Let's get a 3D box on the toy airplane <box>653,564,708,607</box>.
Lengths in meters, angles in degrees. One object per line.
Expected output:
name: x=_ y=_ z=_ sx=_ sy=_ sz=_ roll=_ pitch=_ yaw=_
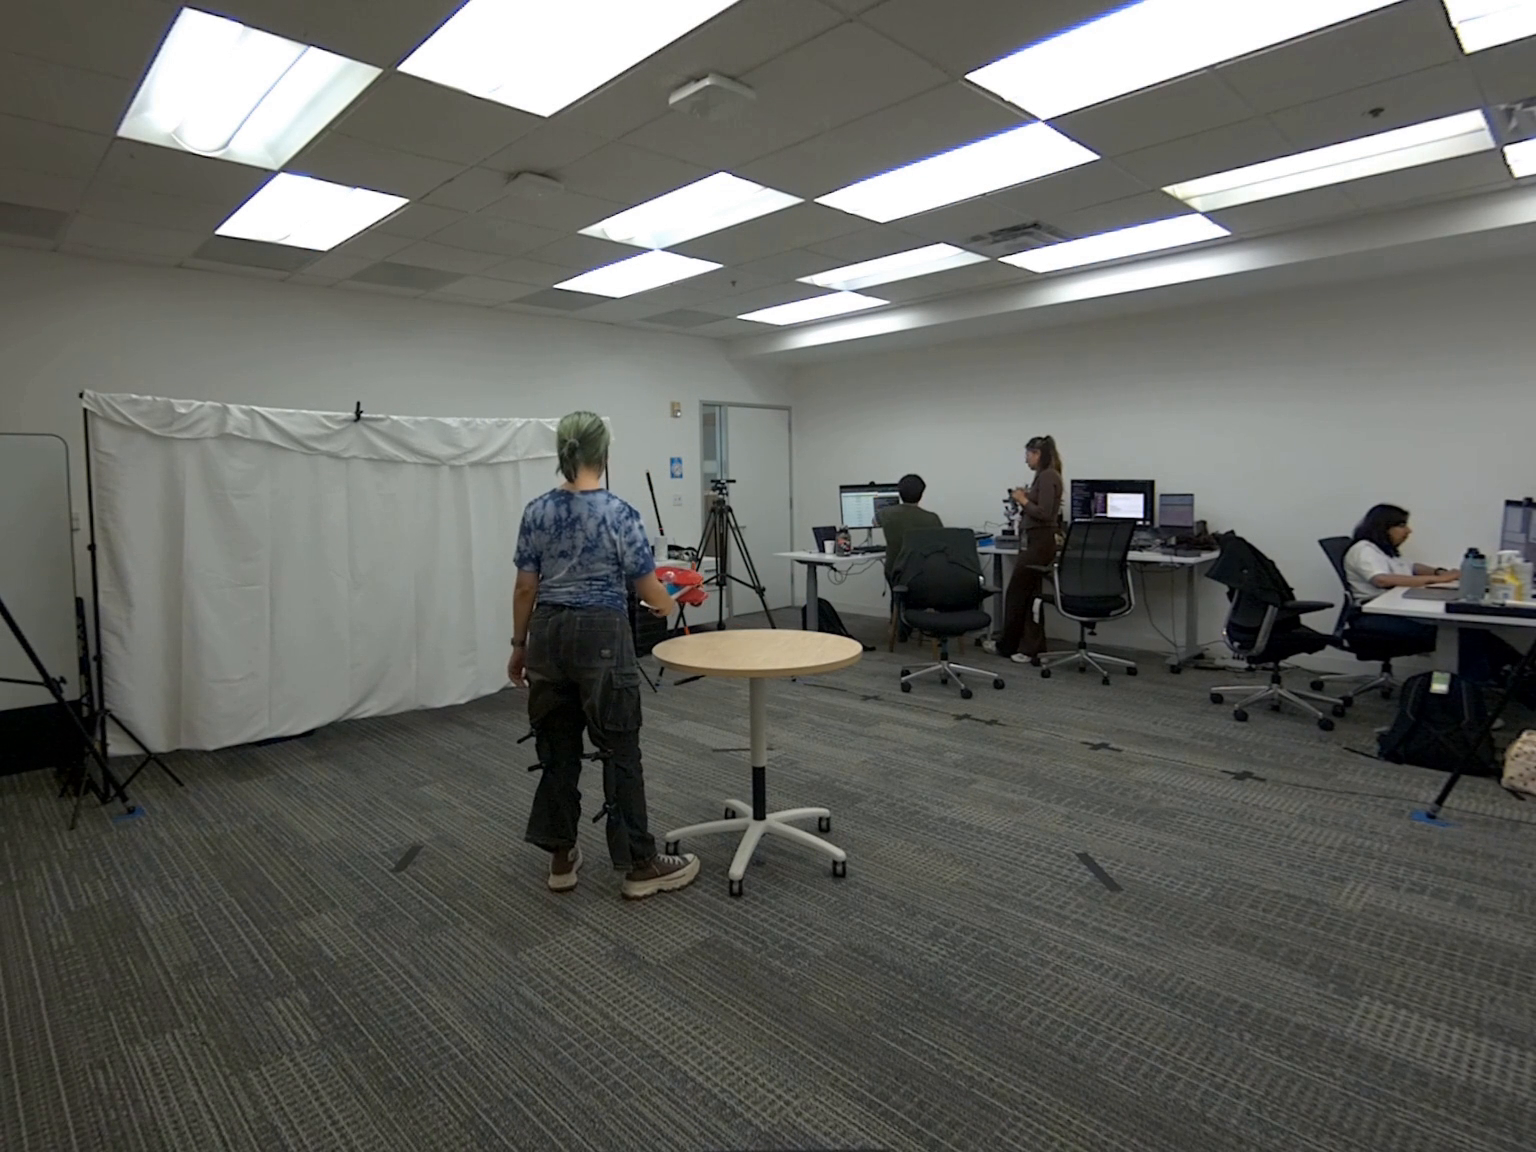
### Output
toy airplane: x=-0.352 y=0.064 z=3.337 sx=0.254 sy=0.154 sz=0.259 roll=1 pitch=16 yaw=12
